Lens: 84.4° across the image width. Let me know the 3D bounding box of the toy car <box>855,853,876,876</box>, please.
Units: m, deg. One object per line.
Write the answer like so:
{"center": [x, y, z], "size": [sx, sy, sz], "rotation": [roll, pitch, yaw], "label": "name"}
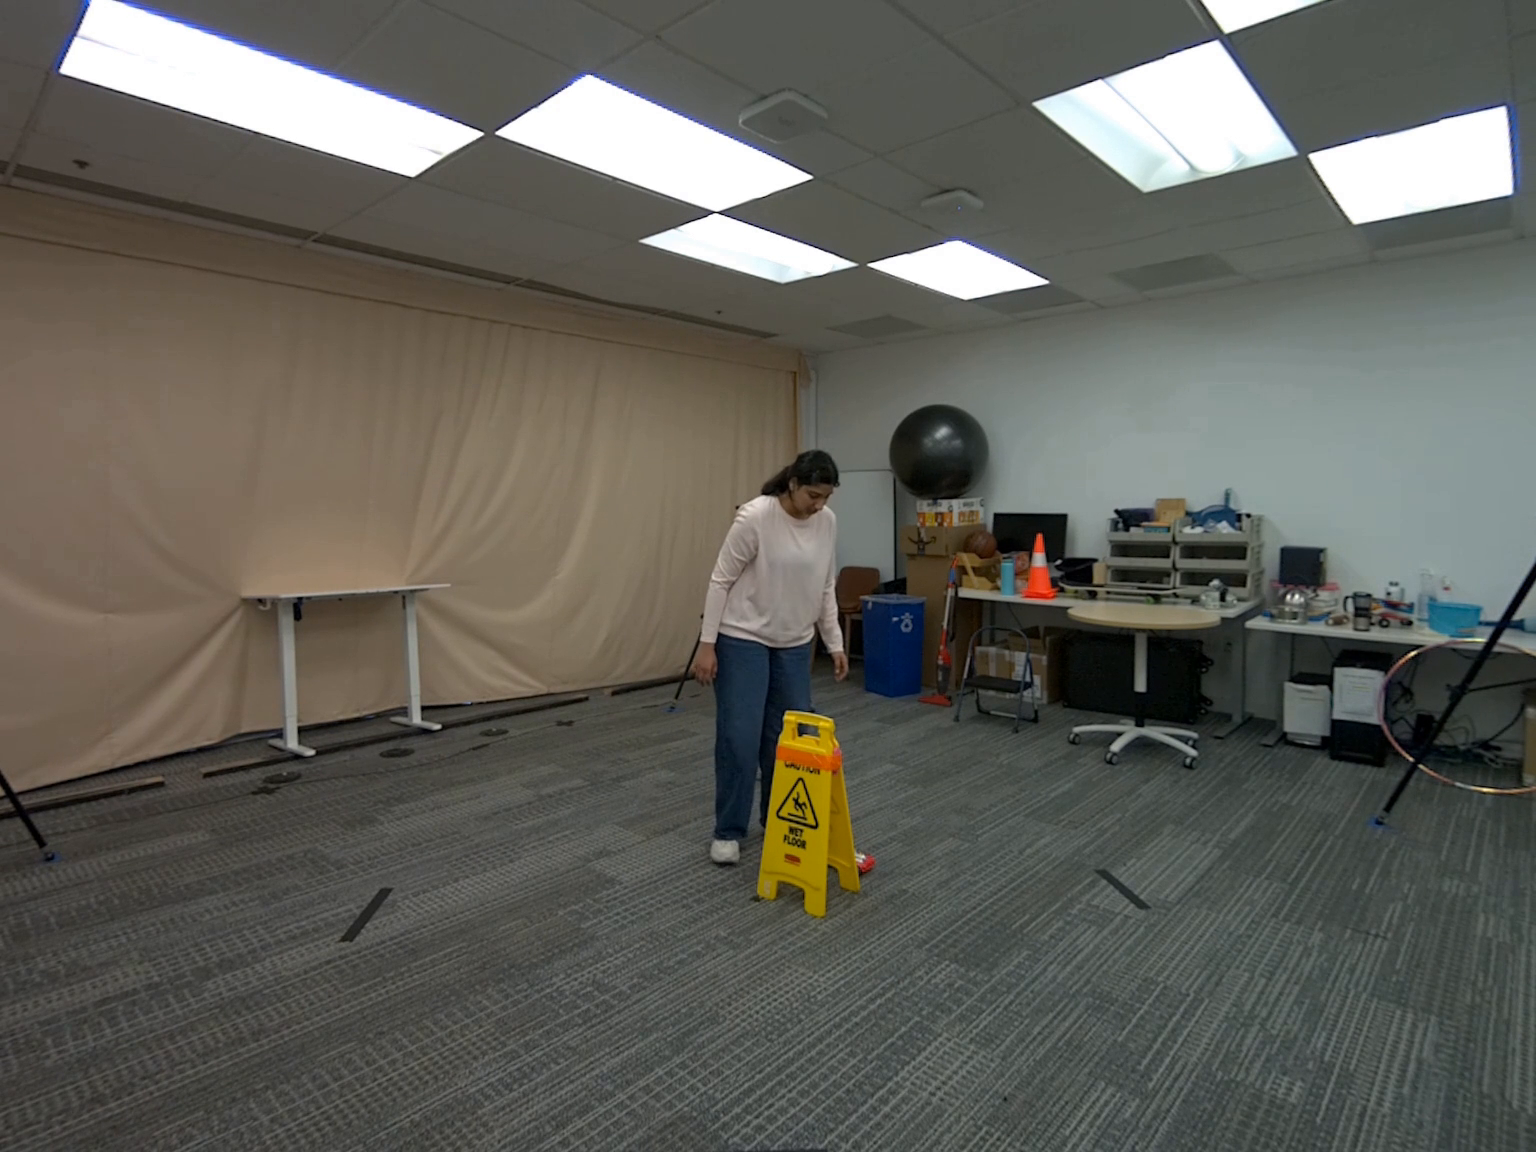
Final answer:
{"center": [0.291, 1.092, 3.254], "size": [0.263, 0.083, 0.126], "rotation": [15, 12, 36], "label": "toy car"}
